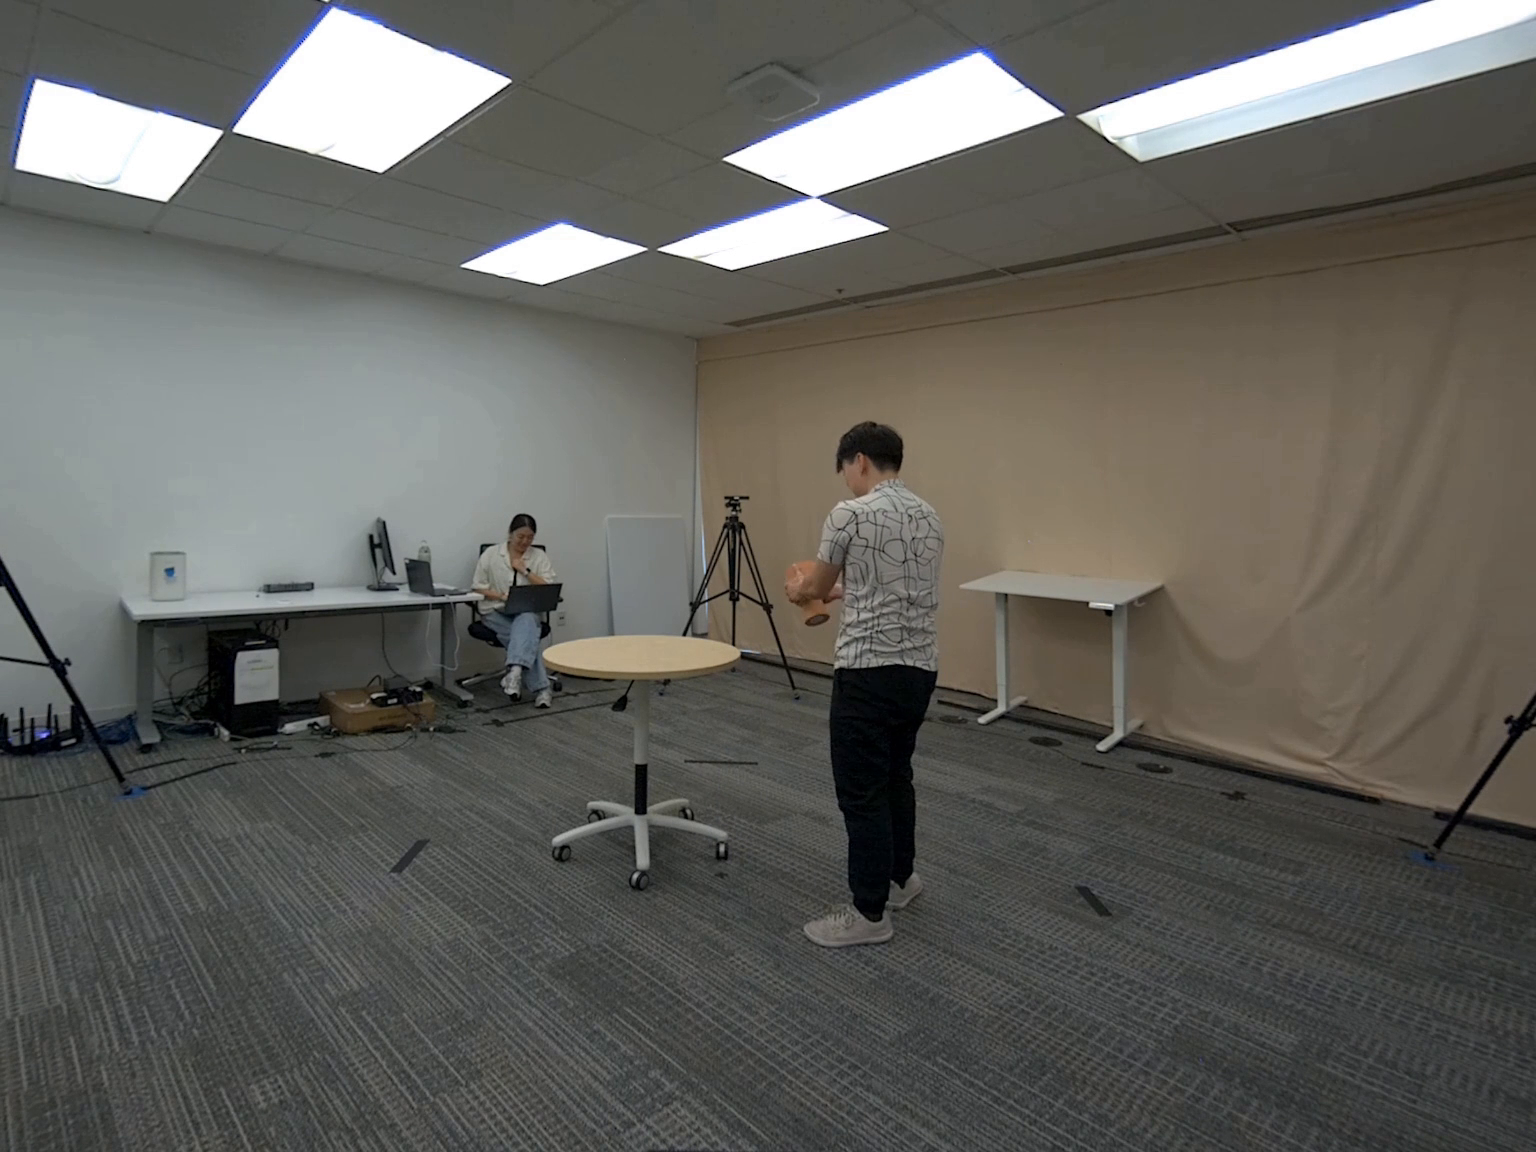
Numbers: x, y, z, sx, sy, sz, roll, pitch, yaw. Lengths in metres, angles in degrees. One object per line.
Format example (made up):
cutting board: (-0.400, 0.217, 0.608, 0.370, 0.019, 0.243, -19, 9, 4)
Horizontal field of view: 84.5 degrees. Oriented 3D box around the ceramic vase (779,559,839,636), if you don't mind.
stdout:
ceramic vase: (0.148, 0.075, 3.153, 0.133, 0.225, 0.156, -9, -29, -14)
